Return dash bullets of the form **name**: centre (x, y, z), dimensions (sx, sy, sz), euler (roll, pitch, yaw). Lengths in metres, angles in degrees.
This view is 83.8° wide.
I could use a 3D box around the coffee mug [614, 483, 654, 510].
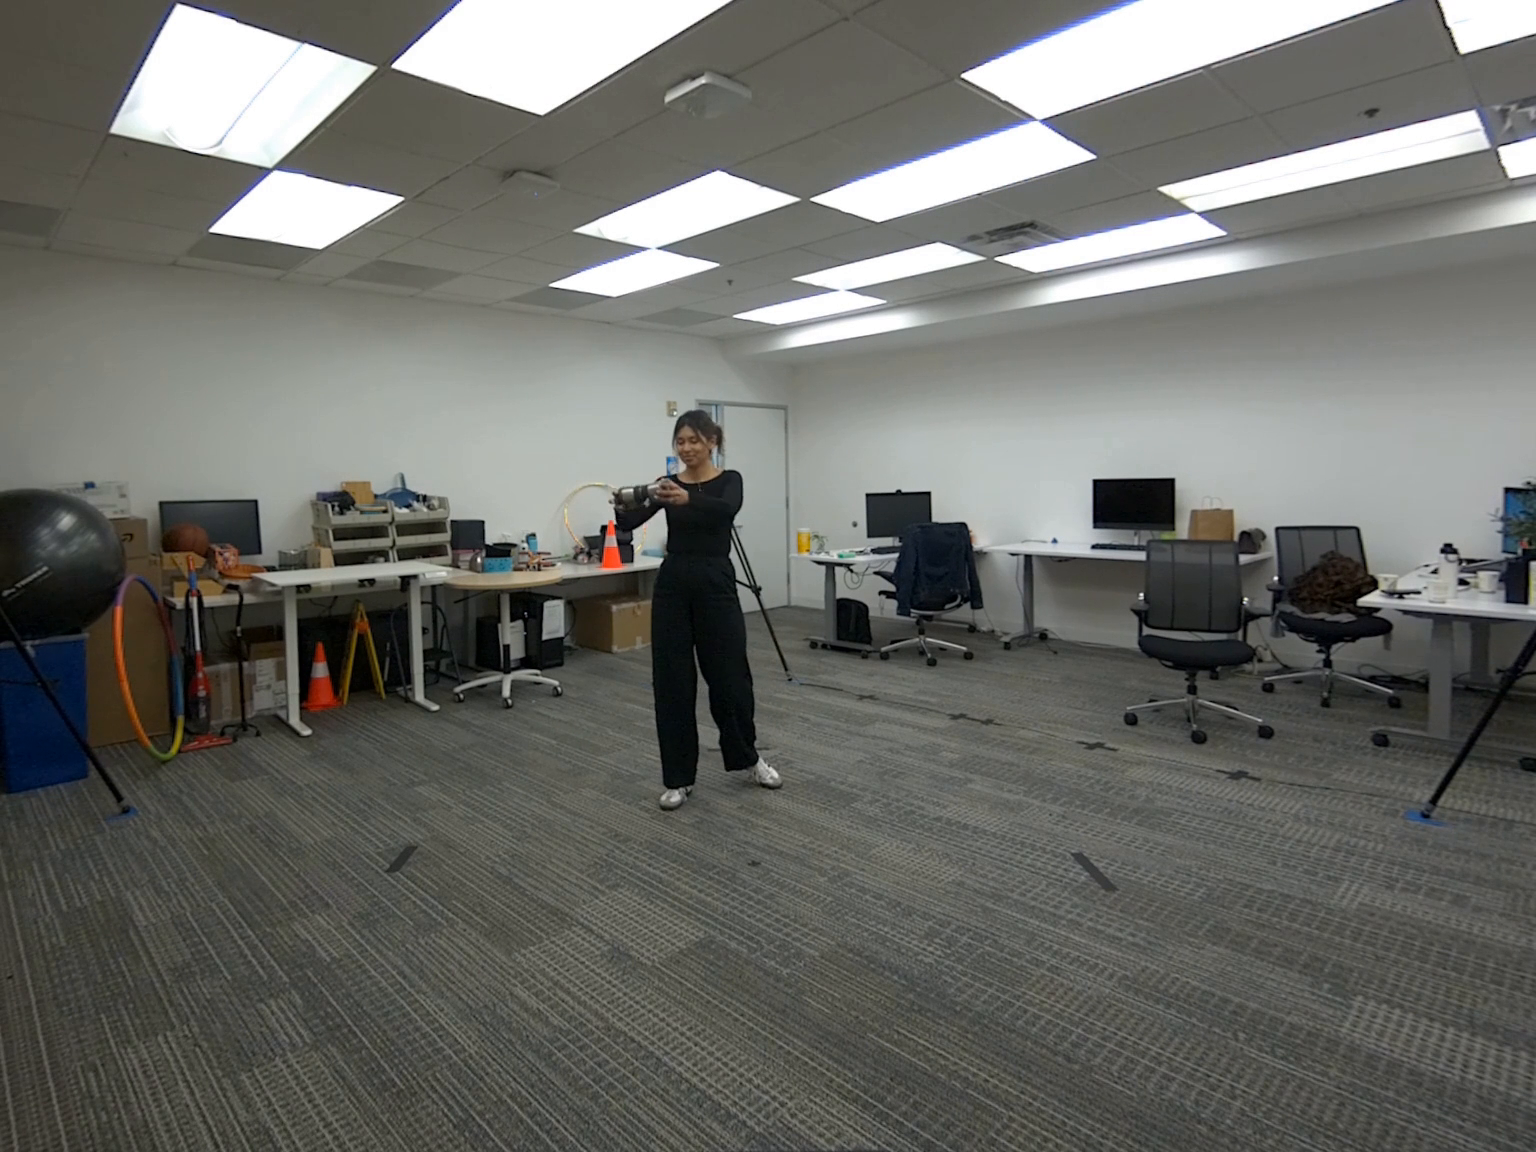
- **coffee mug**: centre (-0.458, -0.298, 3.270), dimensions (0.205, 0.124, 0.085), euler (-7, -25, 14)
